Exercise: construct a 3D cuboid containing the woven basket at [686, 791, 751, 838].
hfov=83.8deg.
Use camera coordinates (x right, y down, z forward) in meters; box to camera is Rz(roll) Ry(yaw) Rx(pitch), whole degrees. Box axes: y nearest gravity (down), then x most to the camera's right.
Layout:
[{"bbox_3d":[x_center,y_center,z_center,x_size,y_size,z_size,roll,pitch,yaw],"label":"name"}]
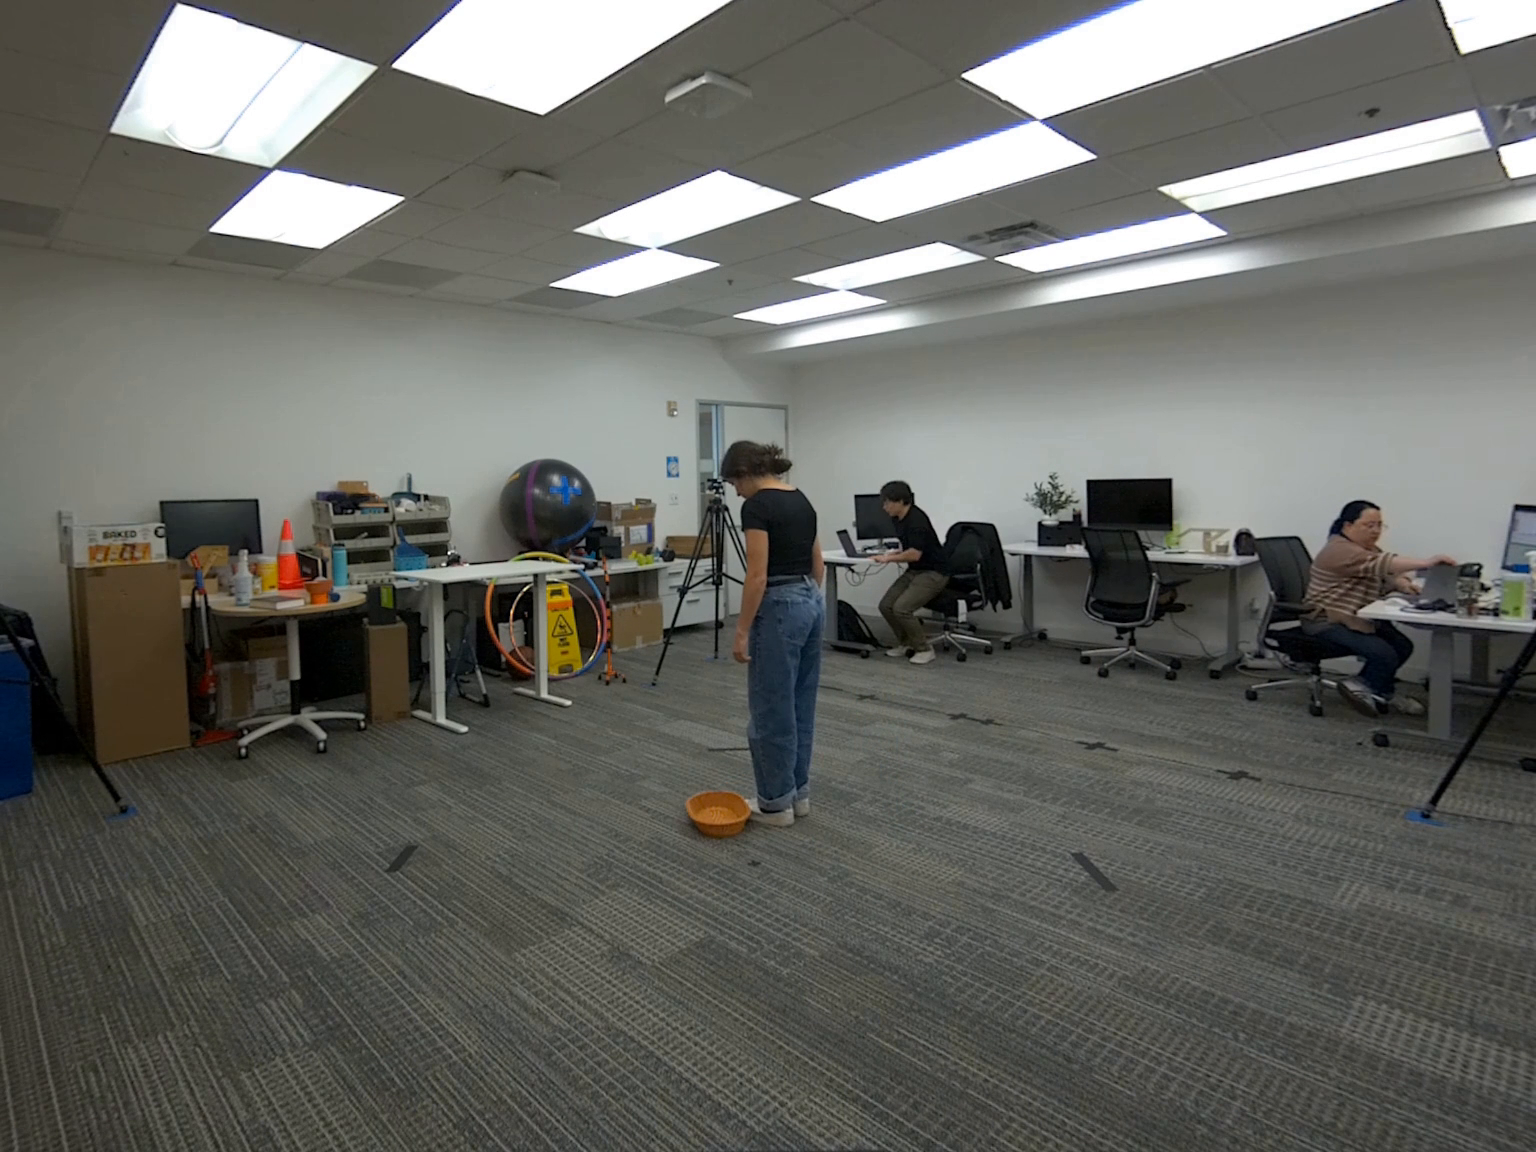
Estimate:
[{"bbox_3d":[-0.206,0.969,3.471,0.250,0.073,0.355,-3,7,-11],"label":"woven basket"}]
